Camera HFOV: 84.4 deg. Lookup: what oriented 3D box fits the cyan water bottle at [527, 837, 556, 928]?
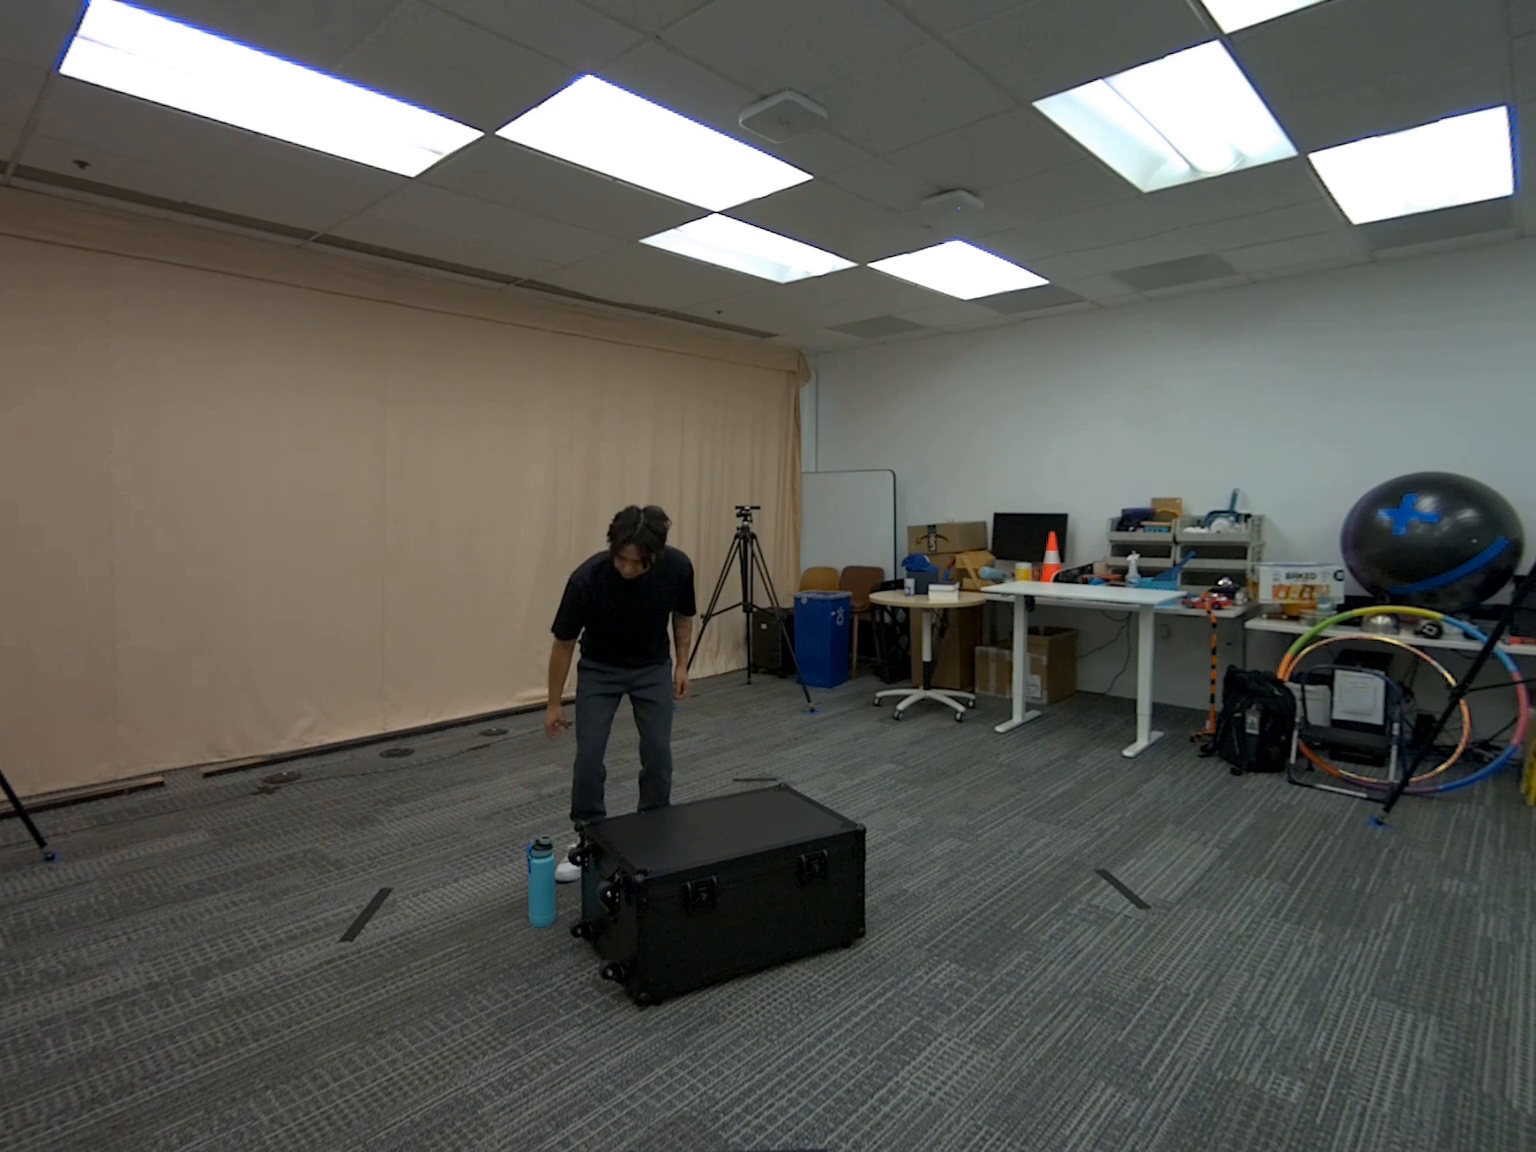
[{"bbox_3d":[-0.760,1.014,2.838,0.092,0.282,0.093,-2,4,-2],"label":"cyan water bottle"}]
